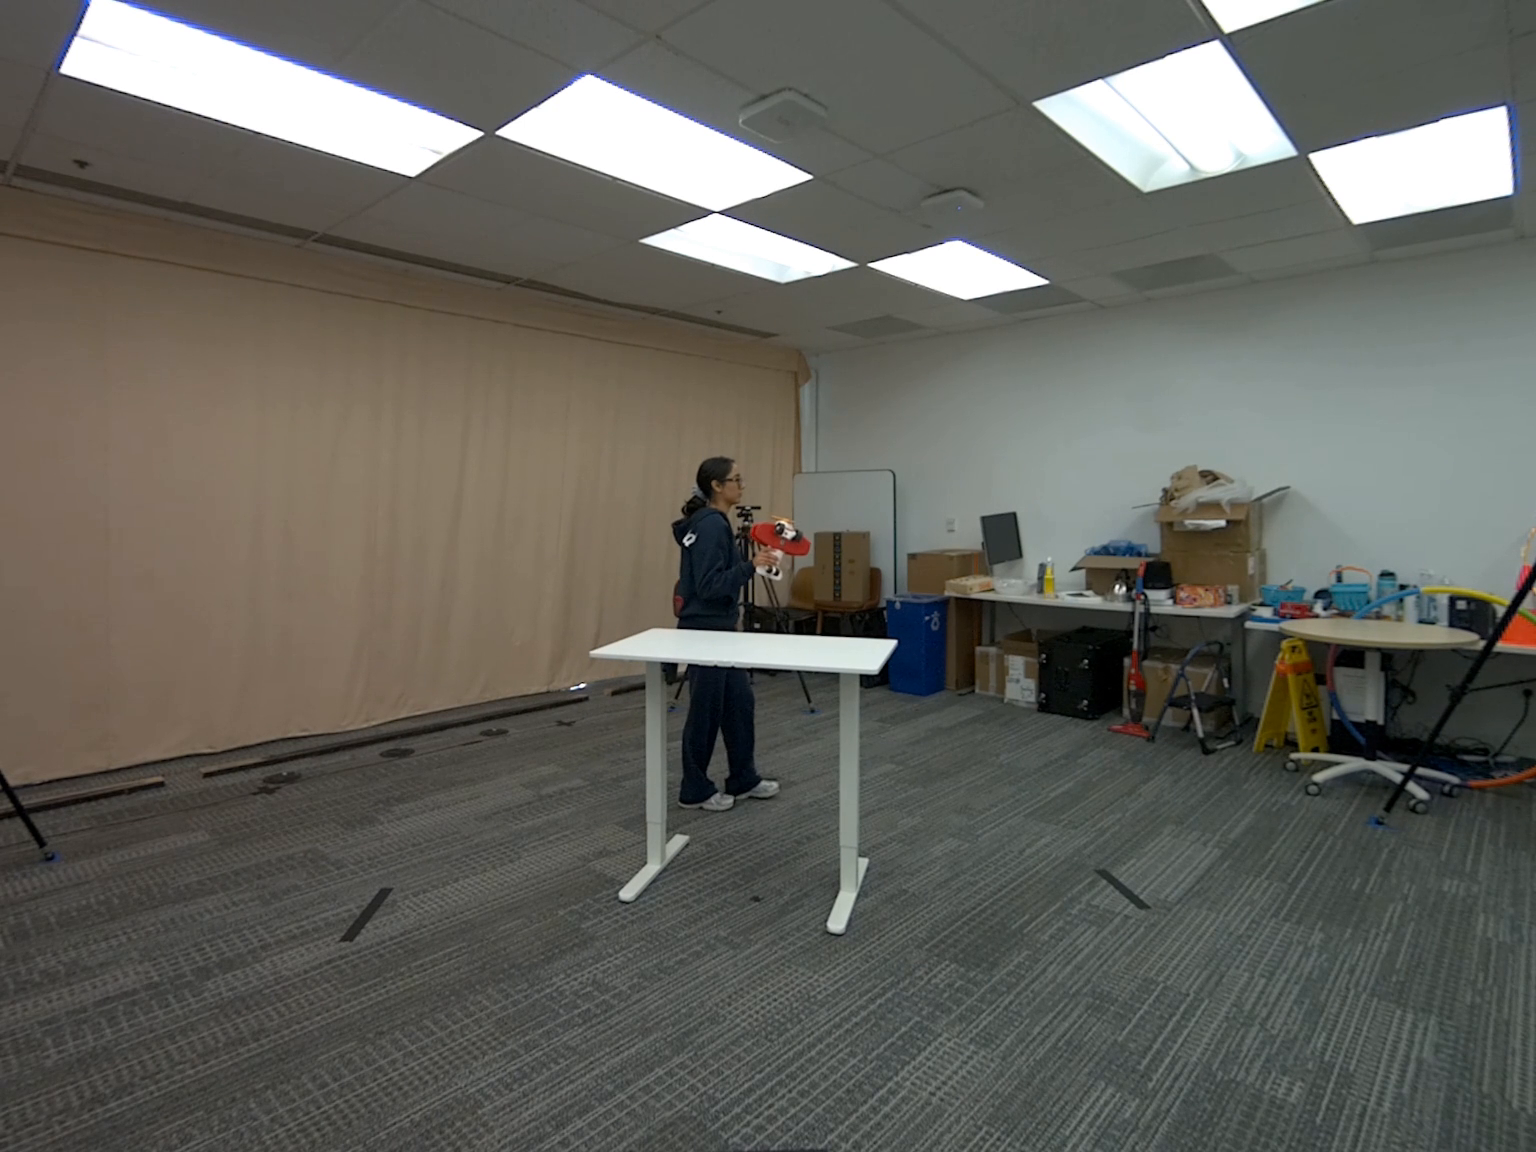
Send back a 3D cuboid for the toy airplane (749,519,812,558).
[{"bbox_3d":[0.042,-0.130,3.604,0.259,0.247,0.159,-41,16,4],"label":"toy airplane"}]
